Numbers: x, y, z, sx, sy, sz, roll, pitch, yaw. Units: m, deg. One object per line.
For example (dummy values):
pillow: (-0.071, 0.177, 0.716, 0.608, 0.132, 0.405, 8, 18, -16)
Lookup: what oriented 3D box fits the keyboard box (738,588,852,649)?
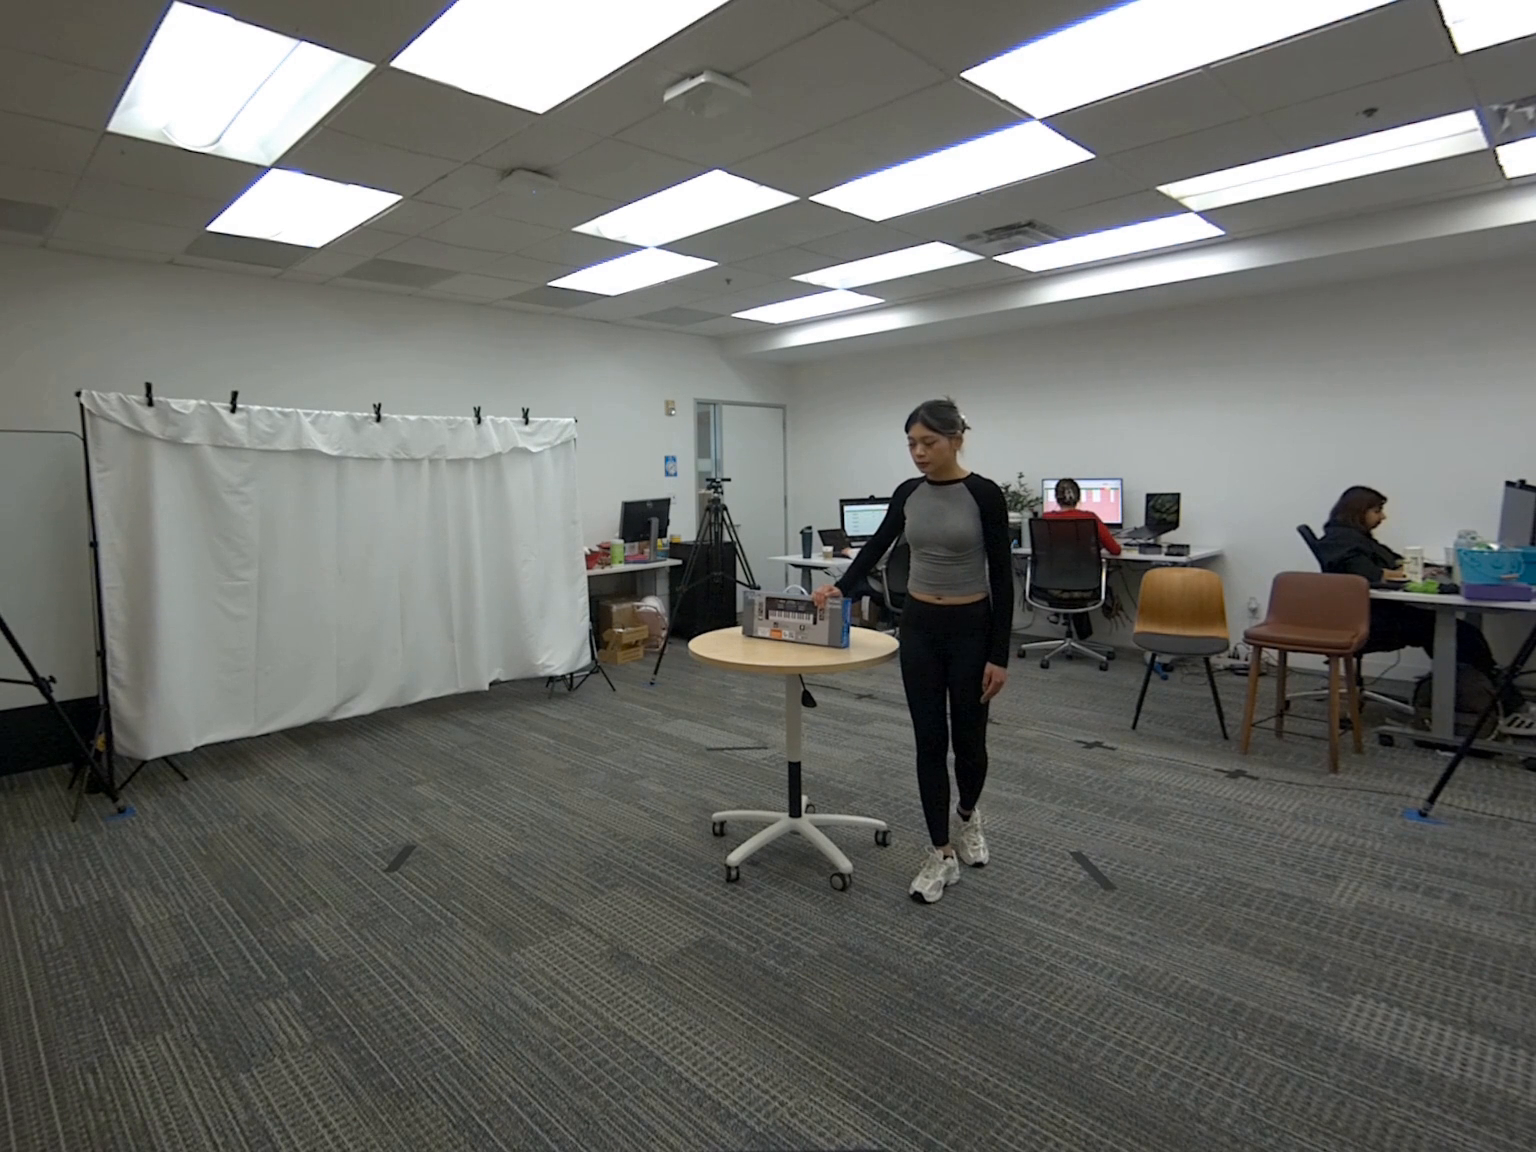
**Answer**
keyboard box: (0.097, 0.155, 3.147, 0.450, 0.176, 0.057, 4, 2, 37)
